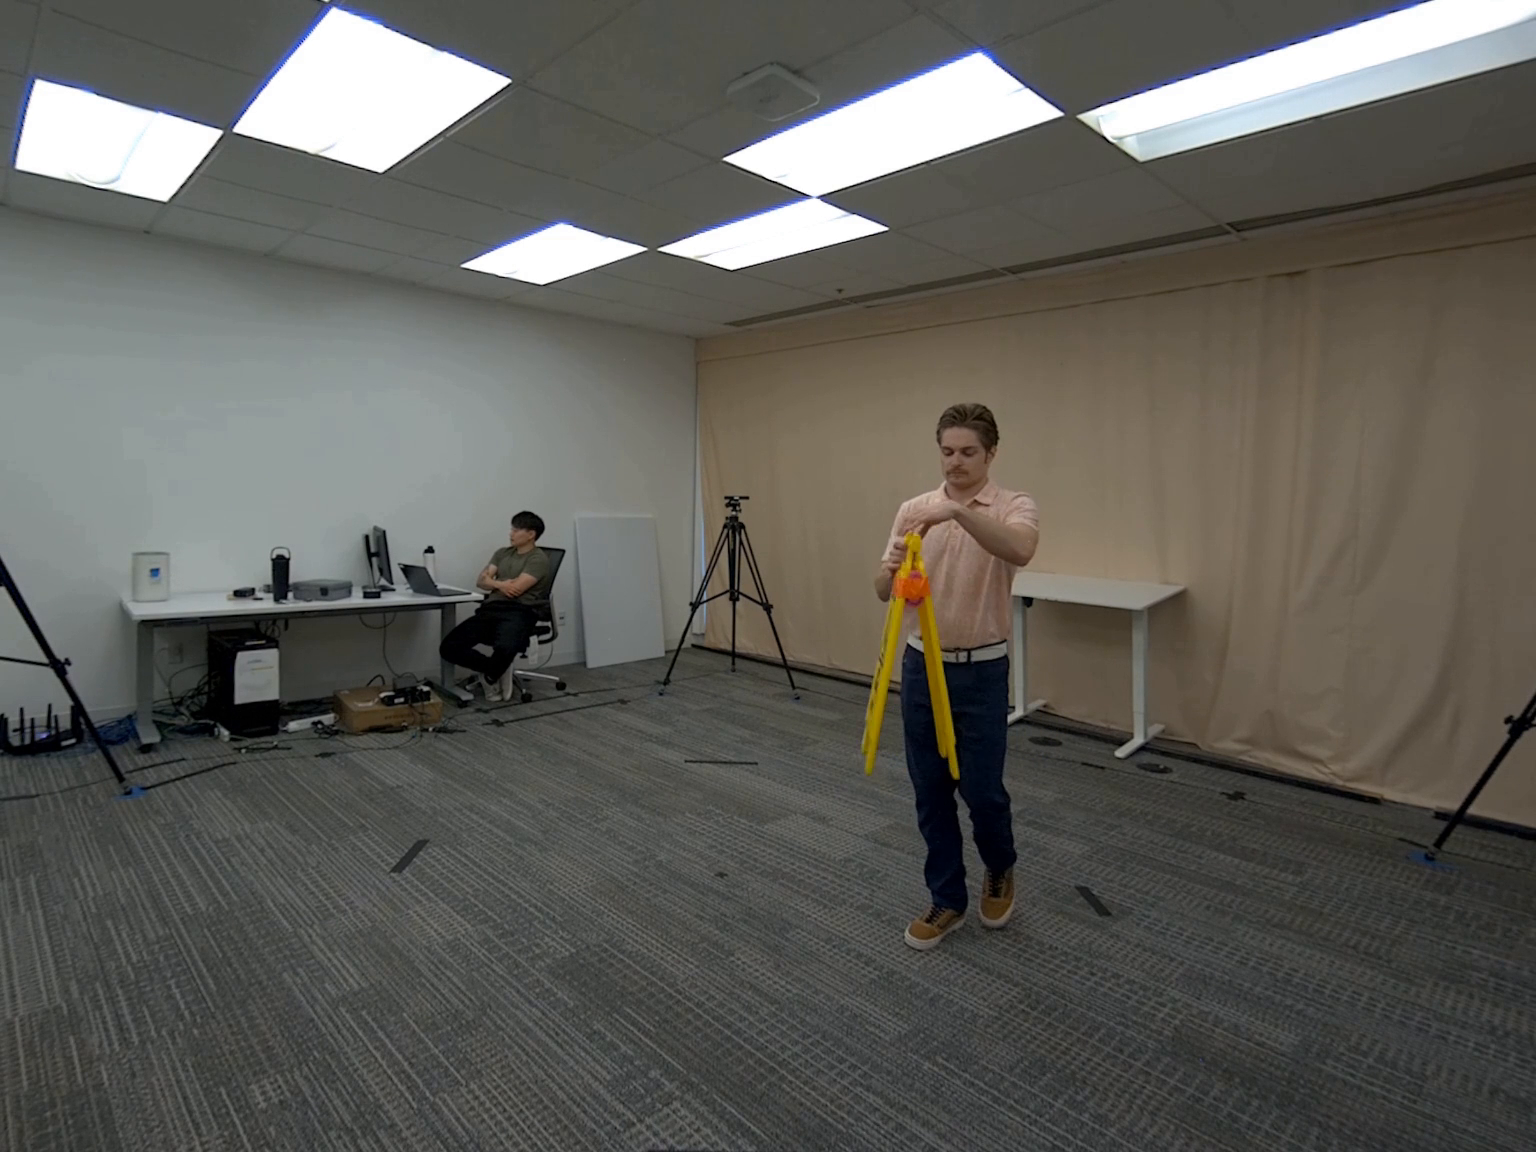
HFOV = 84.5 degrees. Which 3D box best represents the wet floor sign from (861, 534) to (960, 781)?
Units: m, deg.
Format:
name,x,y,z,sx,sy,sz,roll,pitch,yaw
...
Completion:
name,x,y,z,sx,sy,sz,roll,pitch,yaw
wet floor sign,0.400,0.212,2.357,0.291,0.645,0.281,2,2,4
